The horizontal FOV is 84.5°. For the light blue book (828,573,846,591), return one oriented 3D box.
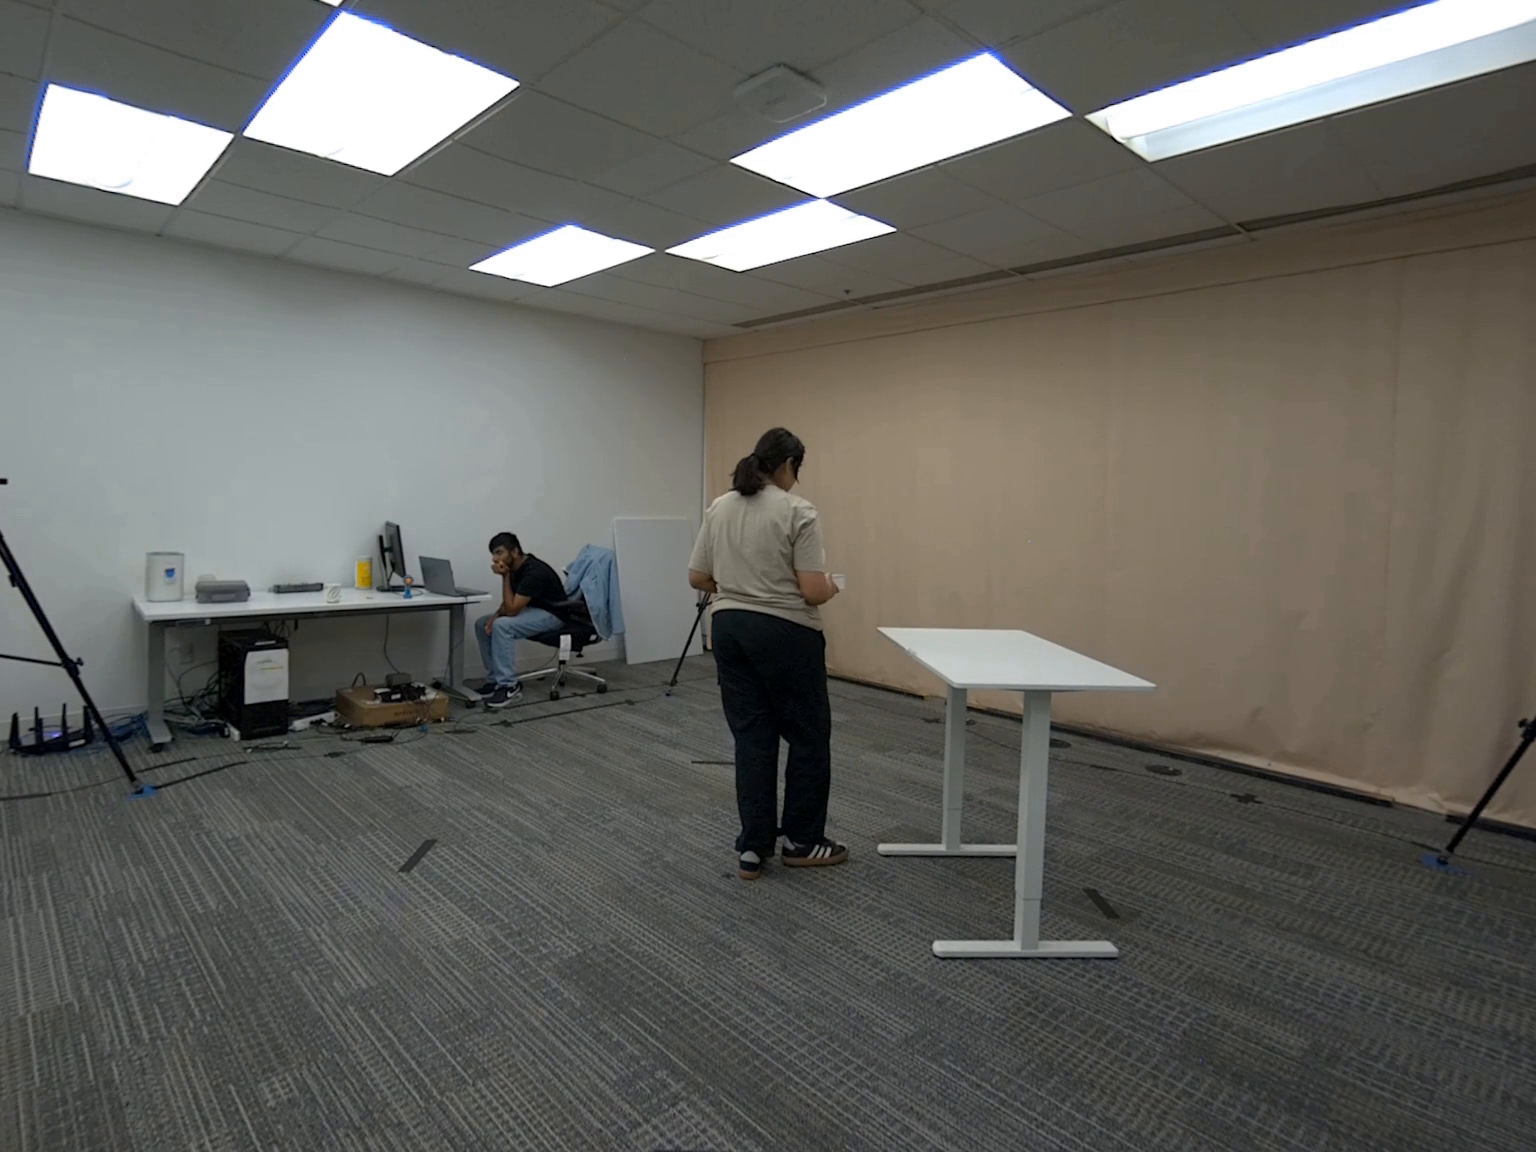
[{"bbox_3d":[0.180,0.028,3.370,0.267,0.059,0.187,5,6,42],"label":"light blue book"}]
